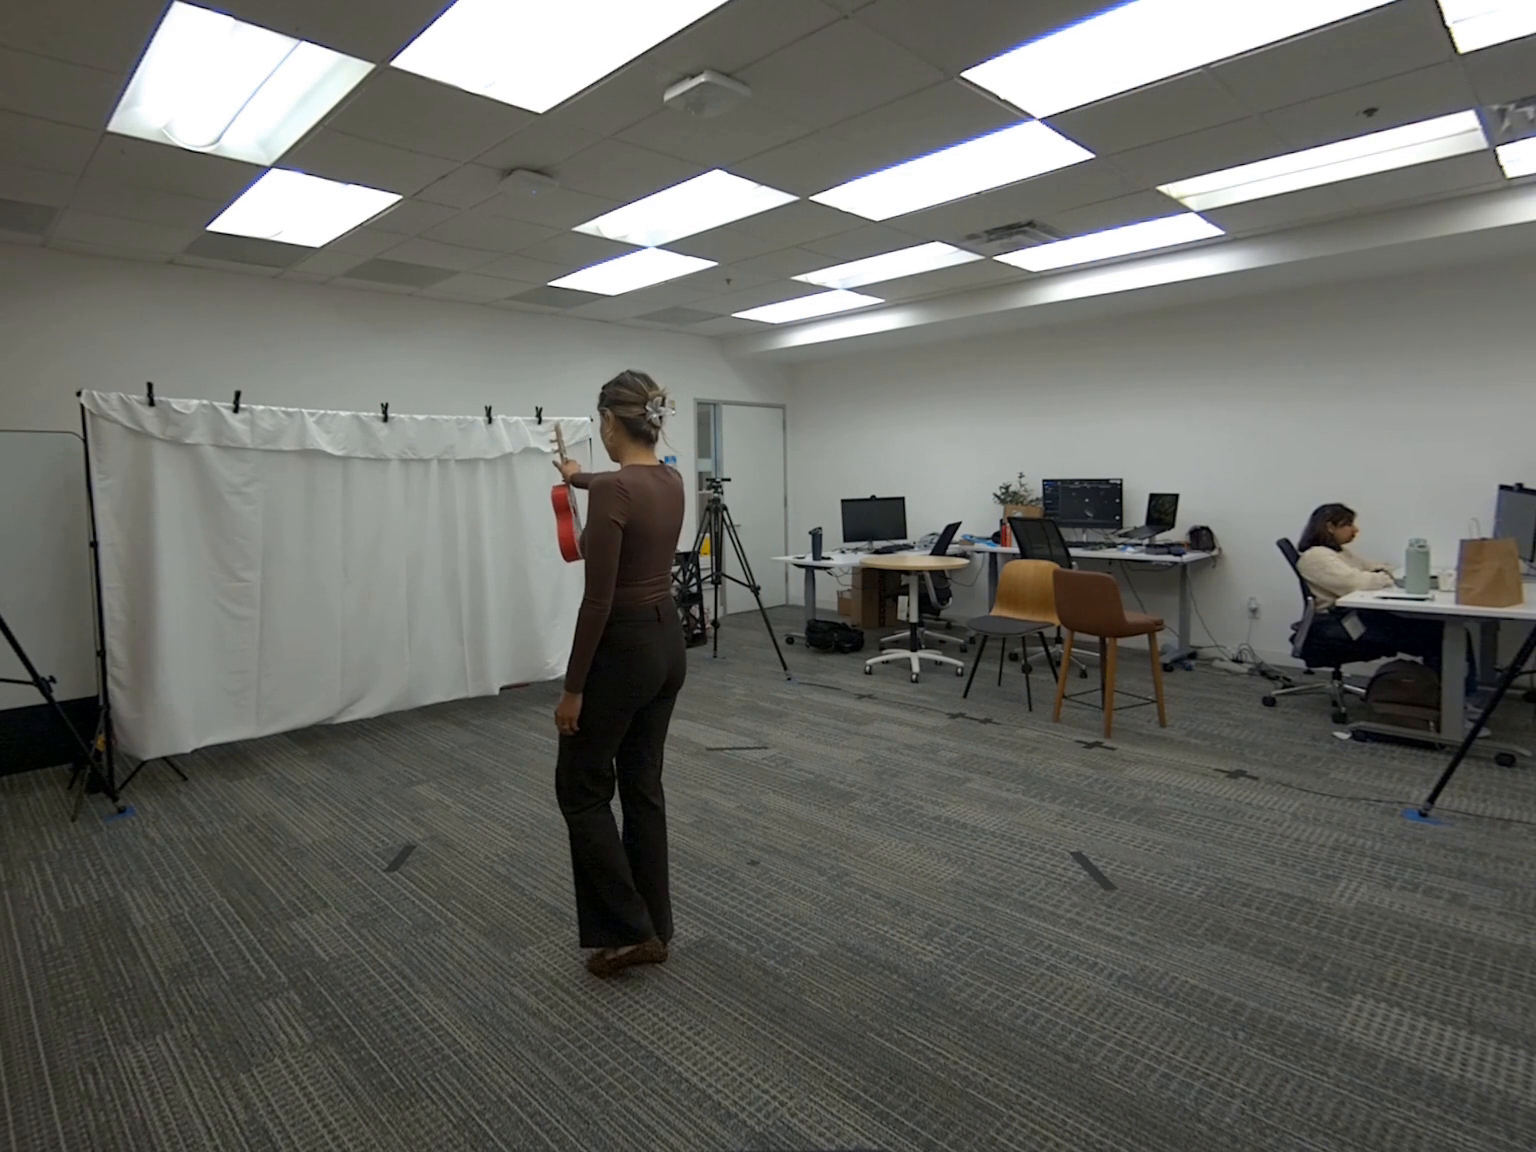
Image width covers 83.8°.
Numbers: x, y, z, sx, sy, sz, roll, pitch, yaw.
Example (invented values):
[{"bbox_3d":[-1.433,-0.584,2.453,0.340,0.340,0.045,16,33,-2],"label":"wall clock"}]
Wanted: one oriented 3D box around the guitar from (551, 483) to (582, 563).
[{"bbox_3d":[-0.726,-0.293,3.069,0.071,0.504,0.190,-11,-10,0],"label":"guitar"}]
